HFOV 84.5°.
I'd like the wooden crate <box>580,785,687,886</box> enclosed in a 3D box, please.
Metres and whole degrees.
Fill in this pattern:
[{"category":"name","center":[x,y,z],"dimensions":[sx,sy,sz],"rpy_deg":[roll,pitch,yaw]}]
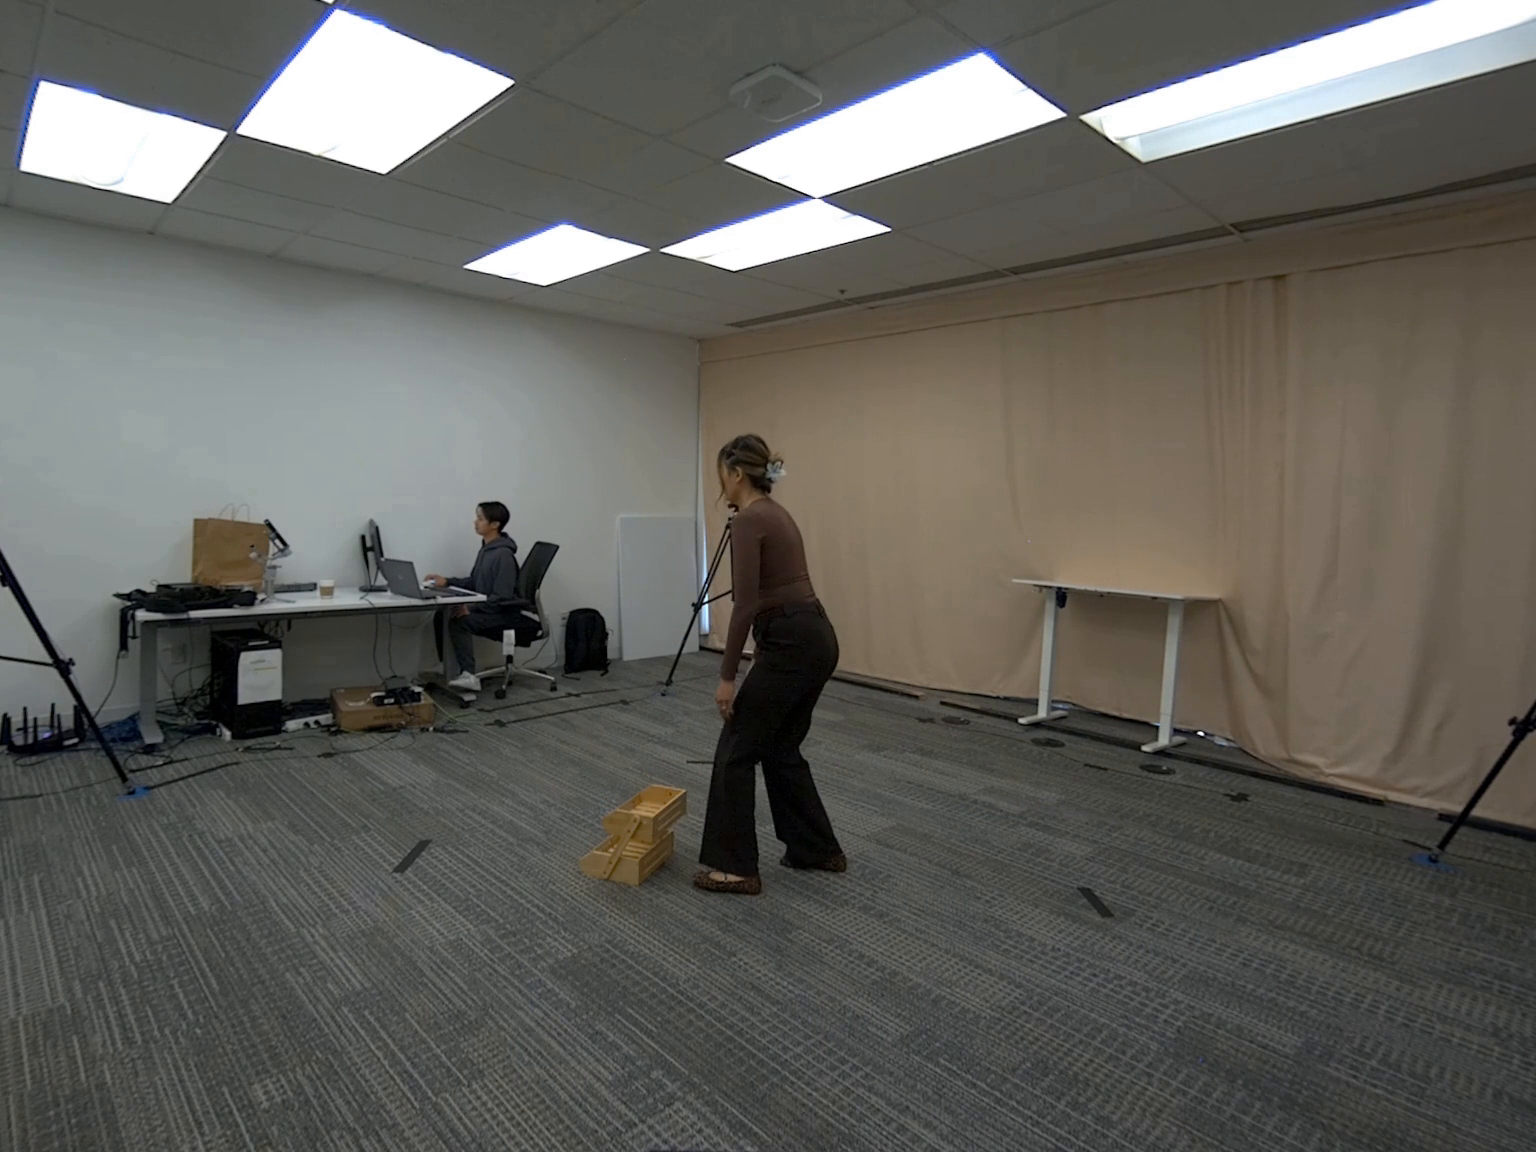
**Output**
[{"category":"wooden crate","center":[-0.511,0.951,3.176],"dimensions":[0.307,0.272,0.320],"rpy_deg":[3,5,19]}]
